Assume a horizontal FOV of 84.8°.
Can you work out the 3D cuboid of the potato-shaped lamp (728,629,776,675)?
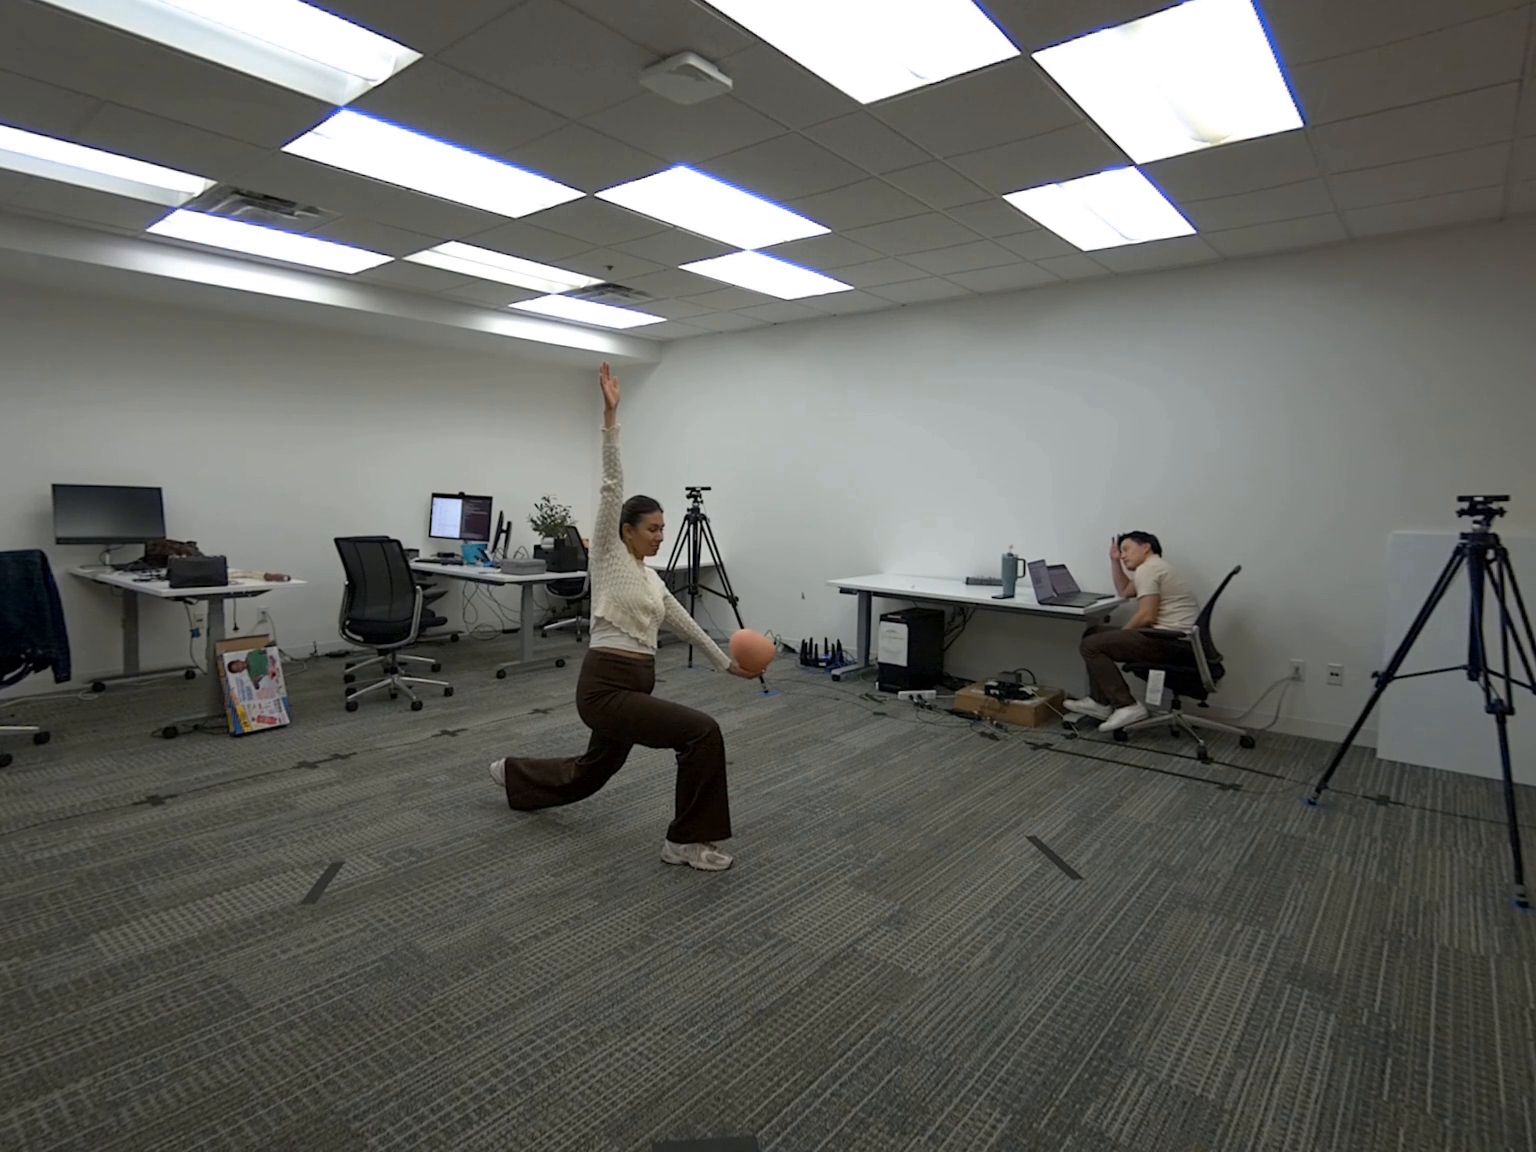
[{"bbox_3d":[-0.089,0.316,3.681,0.196,0.165,0.173,40,15,-9],"label":"potato-shaped lamp"}]
